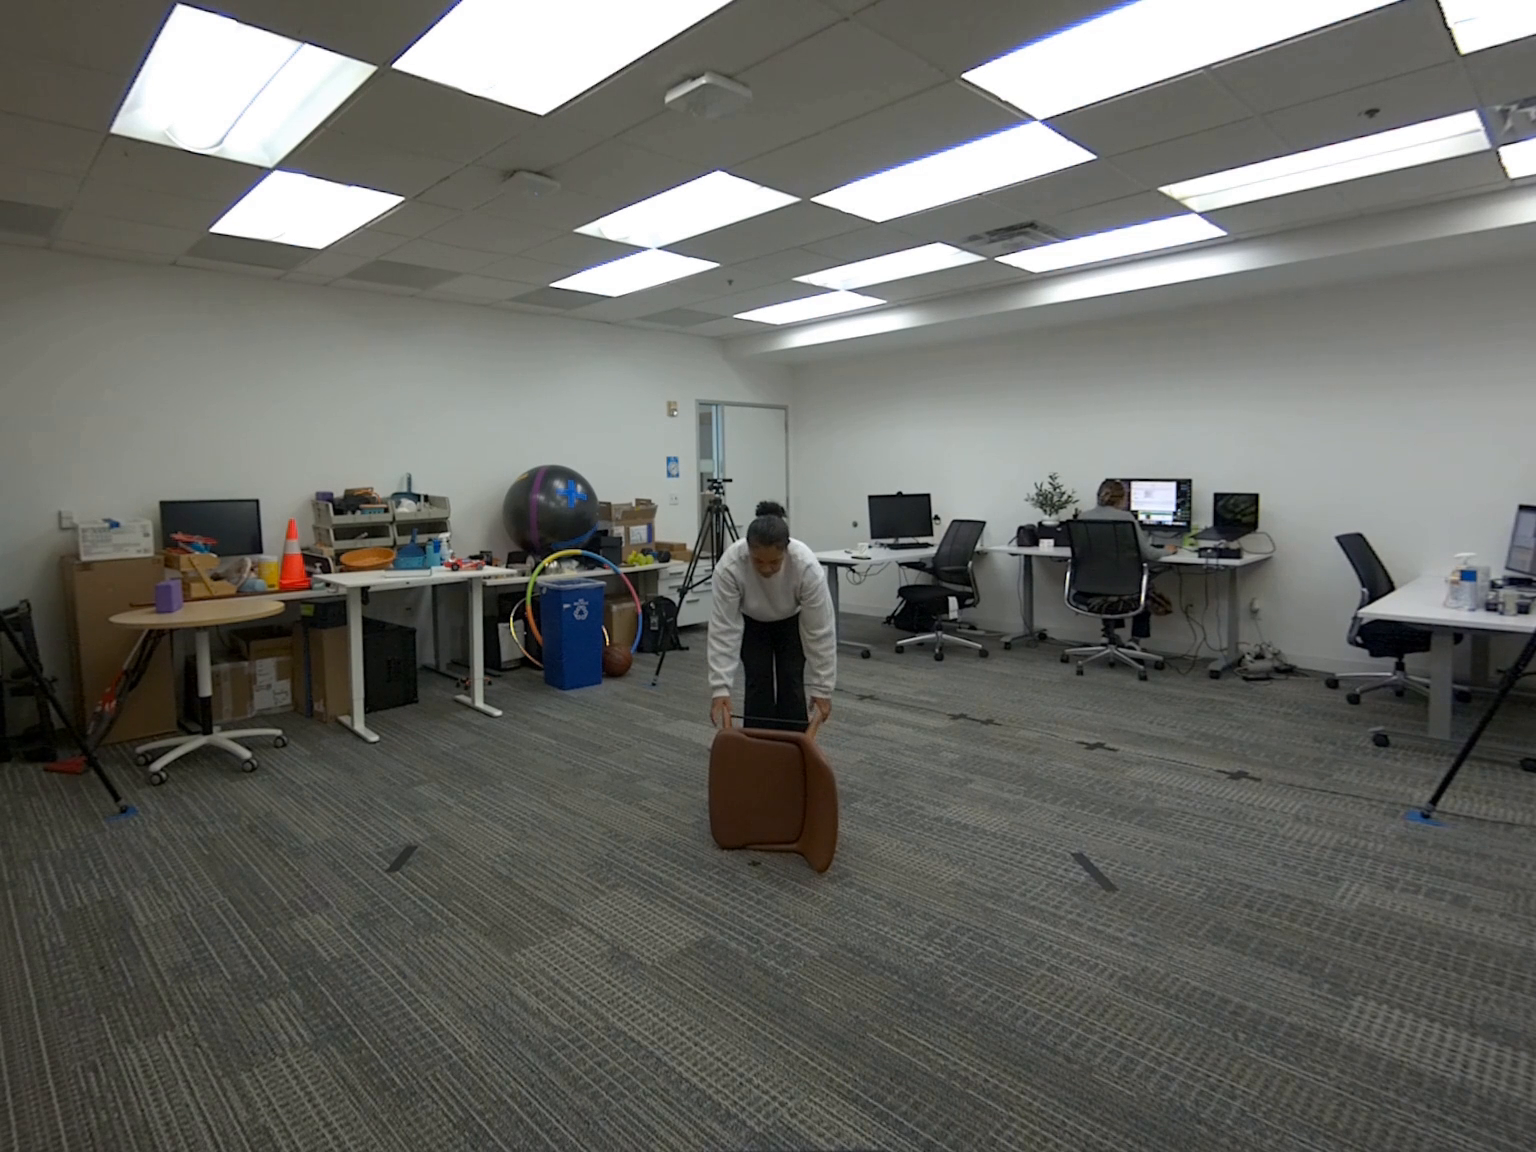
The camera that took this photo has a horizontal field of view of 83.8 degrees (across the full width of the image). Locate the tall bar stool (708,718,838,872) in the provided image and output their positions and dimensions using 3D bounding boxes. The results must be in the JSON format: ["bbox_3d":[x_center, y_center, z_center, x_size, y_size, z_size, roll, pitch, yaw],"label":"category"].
[{"bbox_3d":[0.007,0.803,3.372,0.469,0.455,0.890,1,4,1],"label":"tall bar stool"}]
